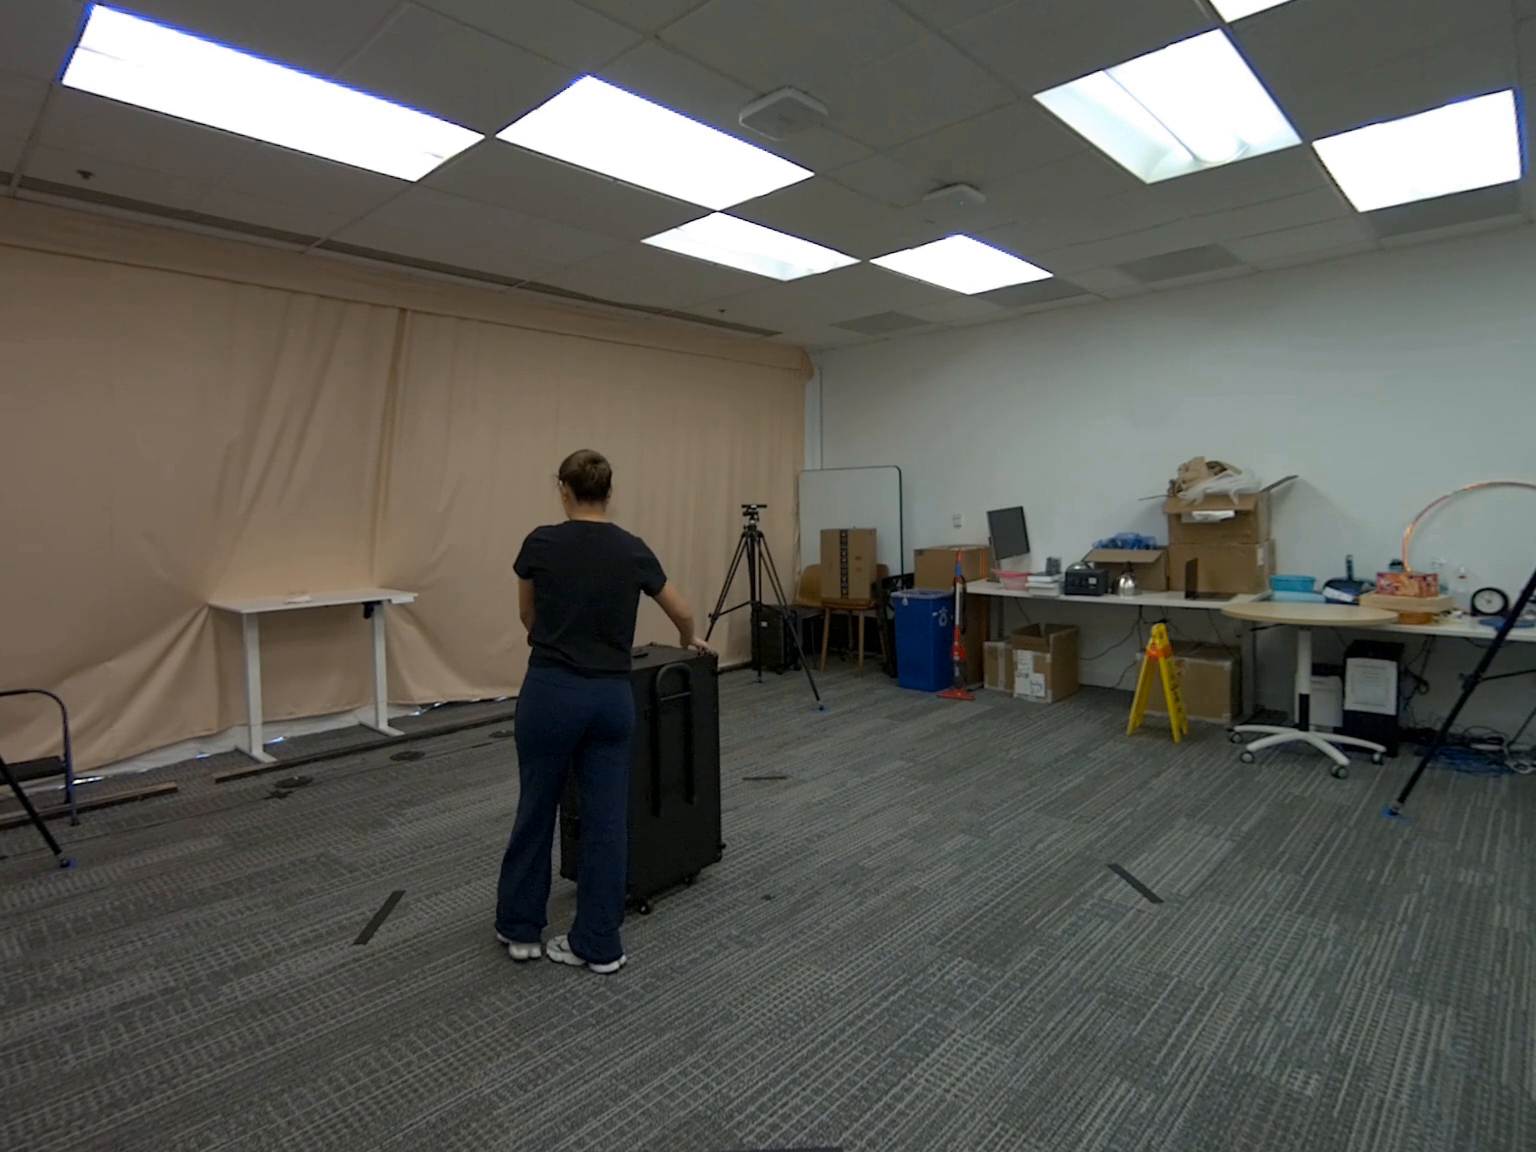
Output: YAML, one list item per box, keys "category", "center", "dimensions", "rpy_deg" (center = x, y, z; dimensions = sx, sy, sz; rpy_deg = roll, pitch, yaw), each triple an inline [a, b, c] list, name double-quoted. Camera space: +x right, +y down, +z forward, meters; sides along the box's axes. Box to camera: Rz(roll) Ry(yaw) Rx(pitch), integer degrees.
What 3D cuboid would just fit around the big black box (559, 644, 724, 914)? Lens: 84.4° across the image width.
- category: "big black box"
  center: [-0.442, 0.717, 3.070]
  dimensions: [0.409, 0.859, 0.506]
  rpy_deg: [3, 5, 41]
